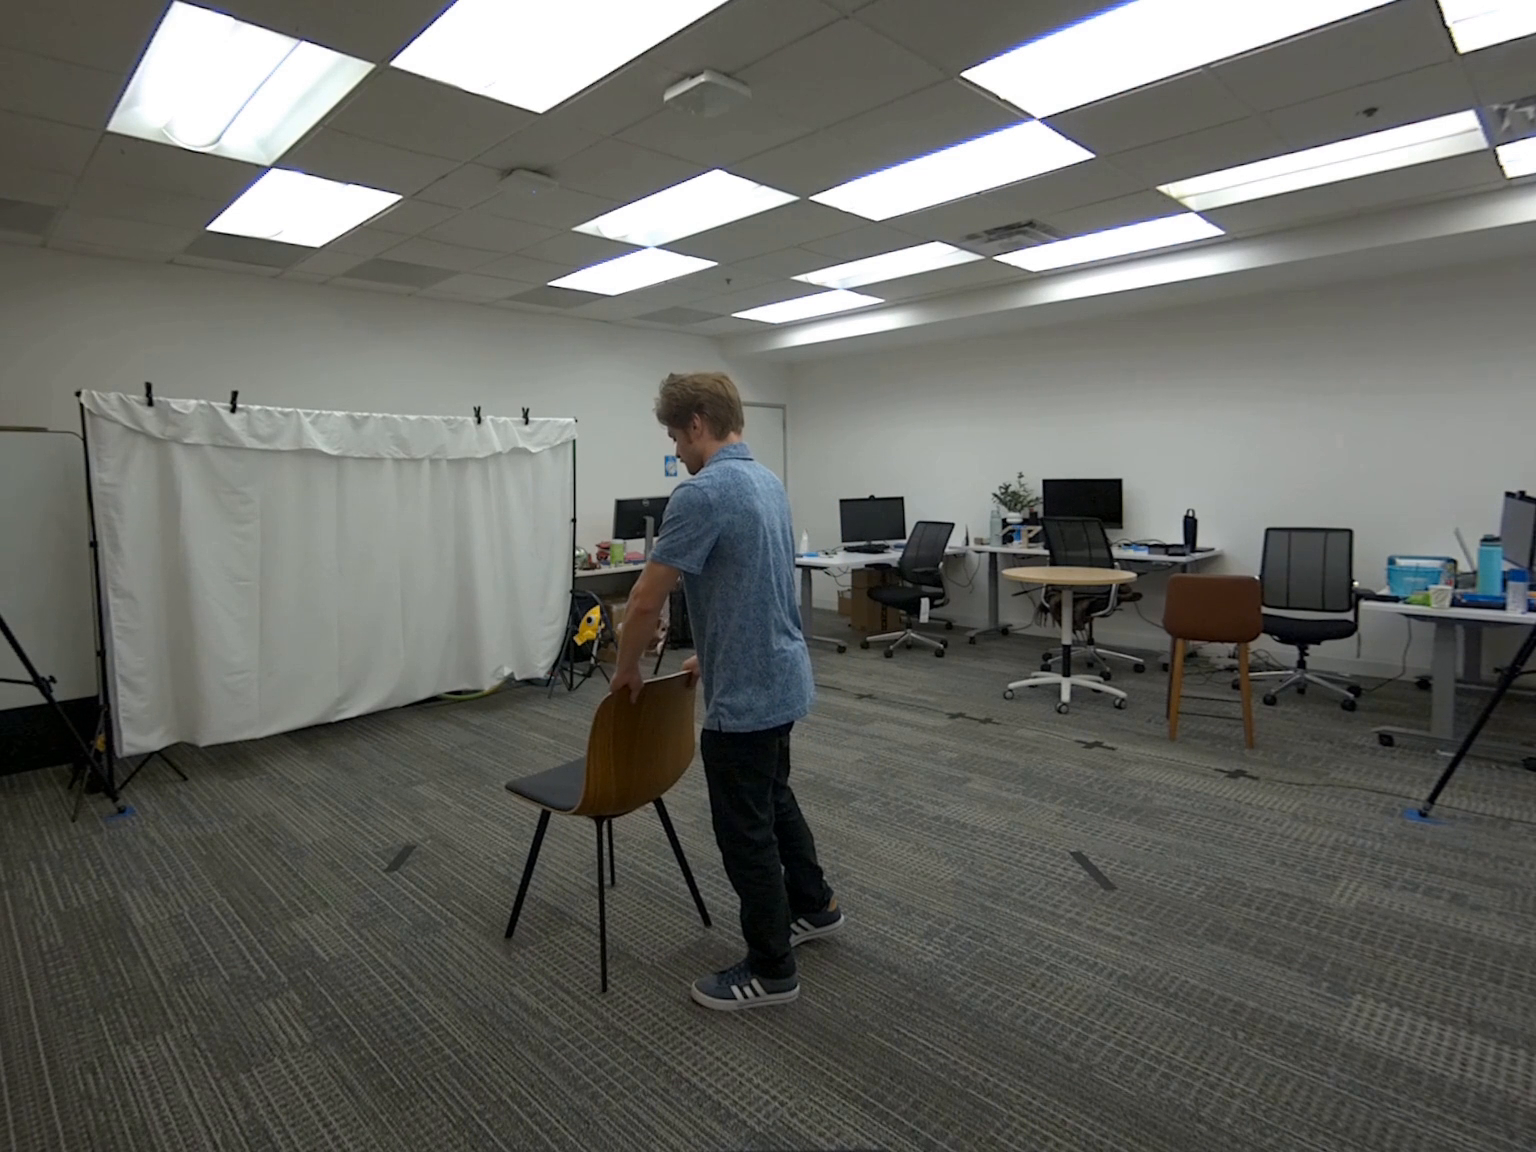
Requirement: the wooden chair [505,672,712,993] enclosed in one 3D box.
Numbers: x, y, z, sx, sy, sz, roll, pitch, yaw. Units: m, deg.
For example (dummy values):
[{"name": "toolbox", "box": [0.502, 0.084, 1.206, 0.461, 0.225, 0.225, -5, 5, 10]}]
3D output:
[{"name": "wooden chair", "box": [-0.502, 0.678, 2.620, 0.540, 0.872, 0.466, 8, 10, 38]}]
